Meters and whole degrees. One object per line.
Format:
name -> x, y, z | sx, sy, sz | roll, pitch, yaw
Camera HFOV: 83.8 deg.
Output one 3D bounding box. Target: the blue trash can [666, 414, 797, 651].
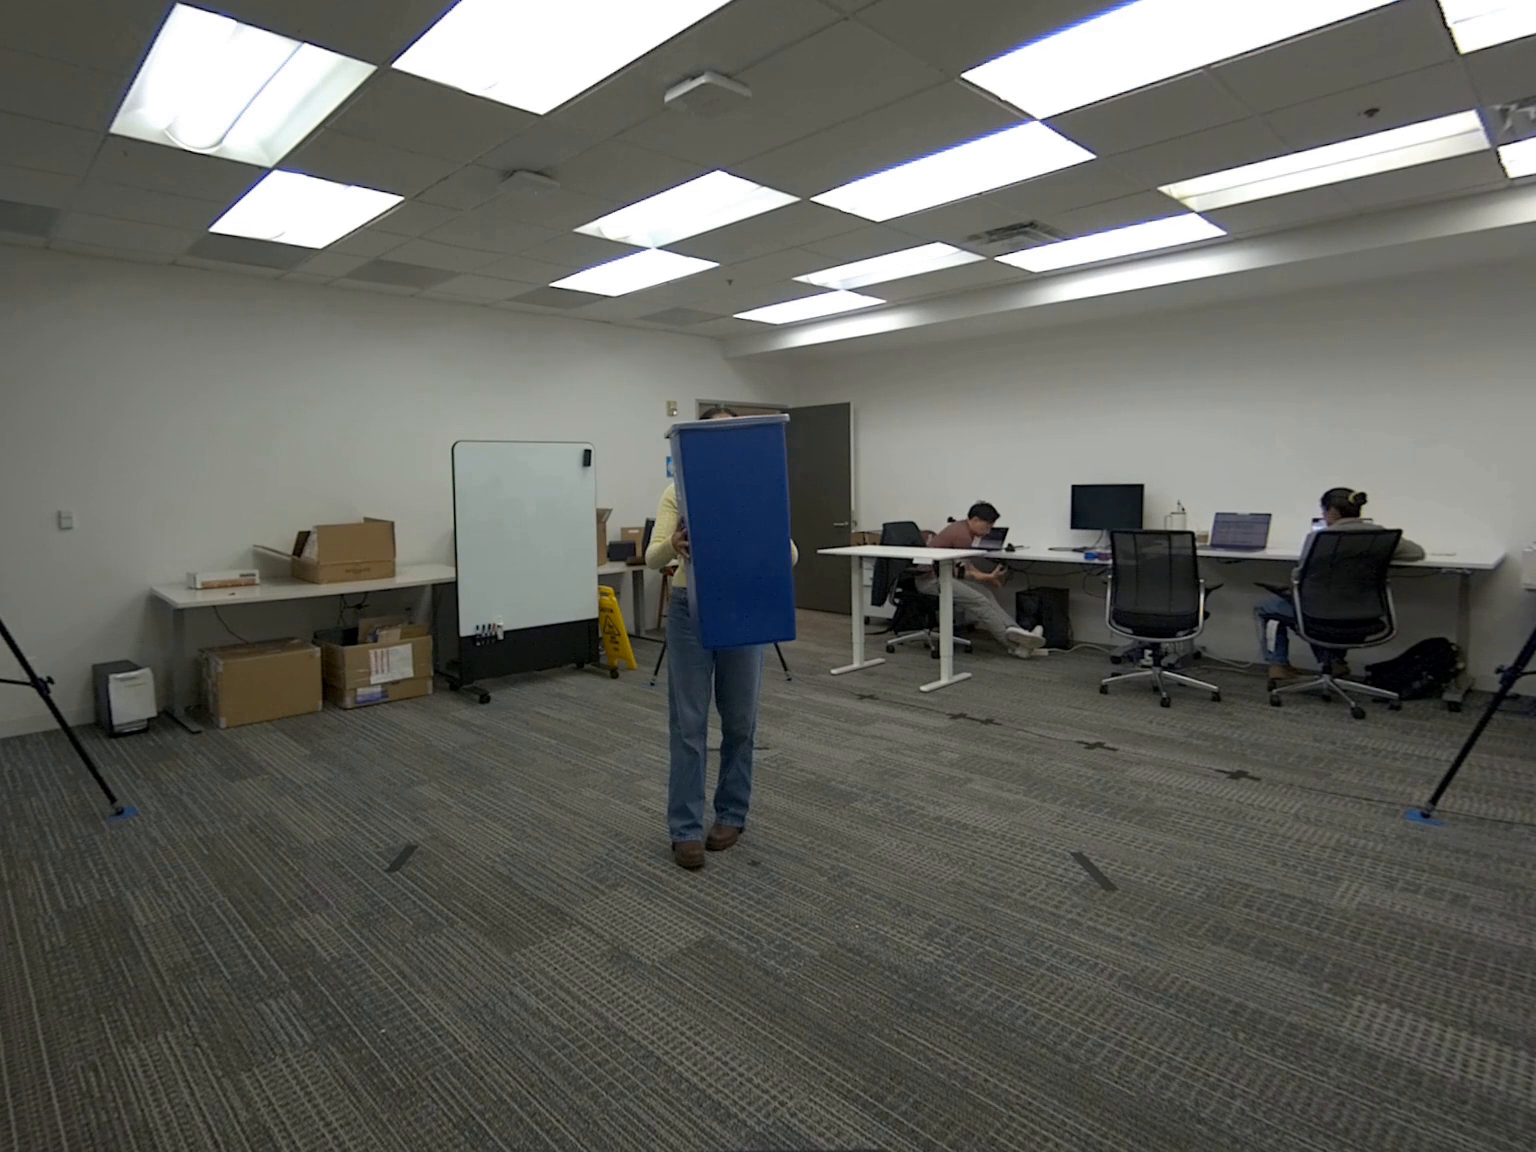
blue trash can -> -0.115, -0.150, 2.810 | 0.375, 0.712, 0.378 | -5, 2, -9
